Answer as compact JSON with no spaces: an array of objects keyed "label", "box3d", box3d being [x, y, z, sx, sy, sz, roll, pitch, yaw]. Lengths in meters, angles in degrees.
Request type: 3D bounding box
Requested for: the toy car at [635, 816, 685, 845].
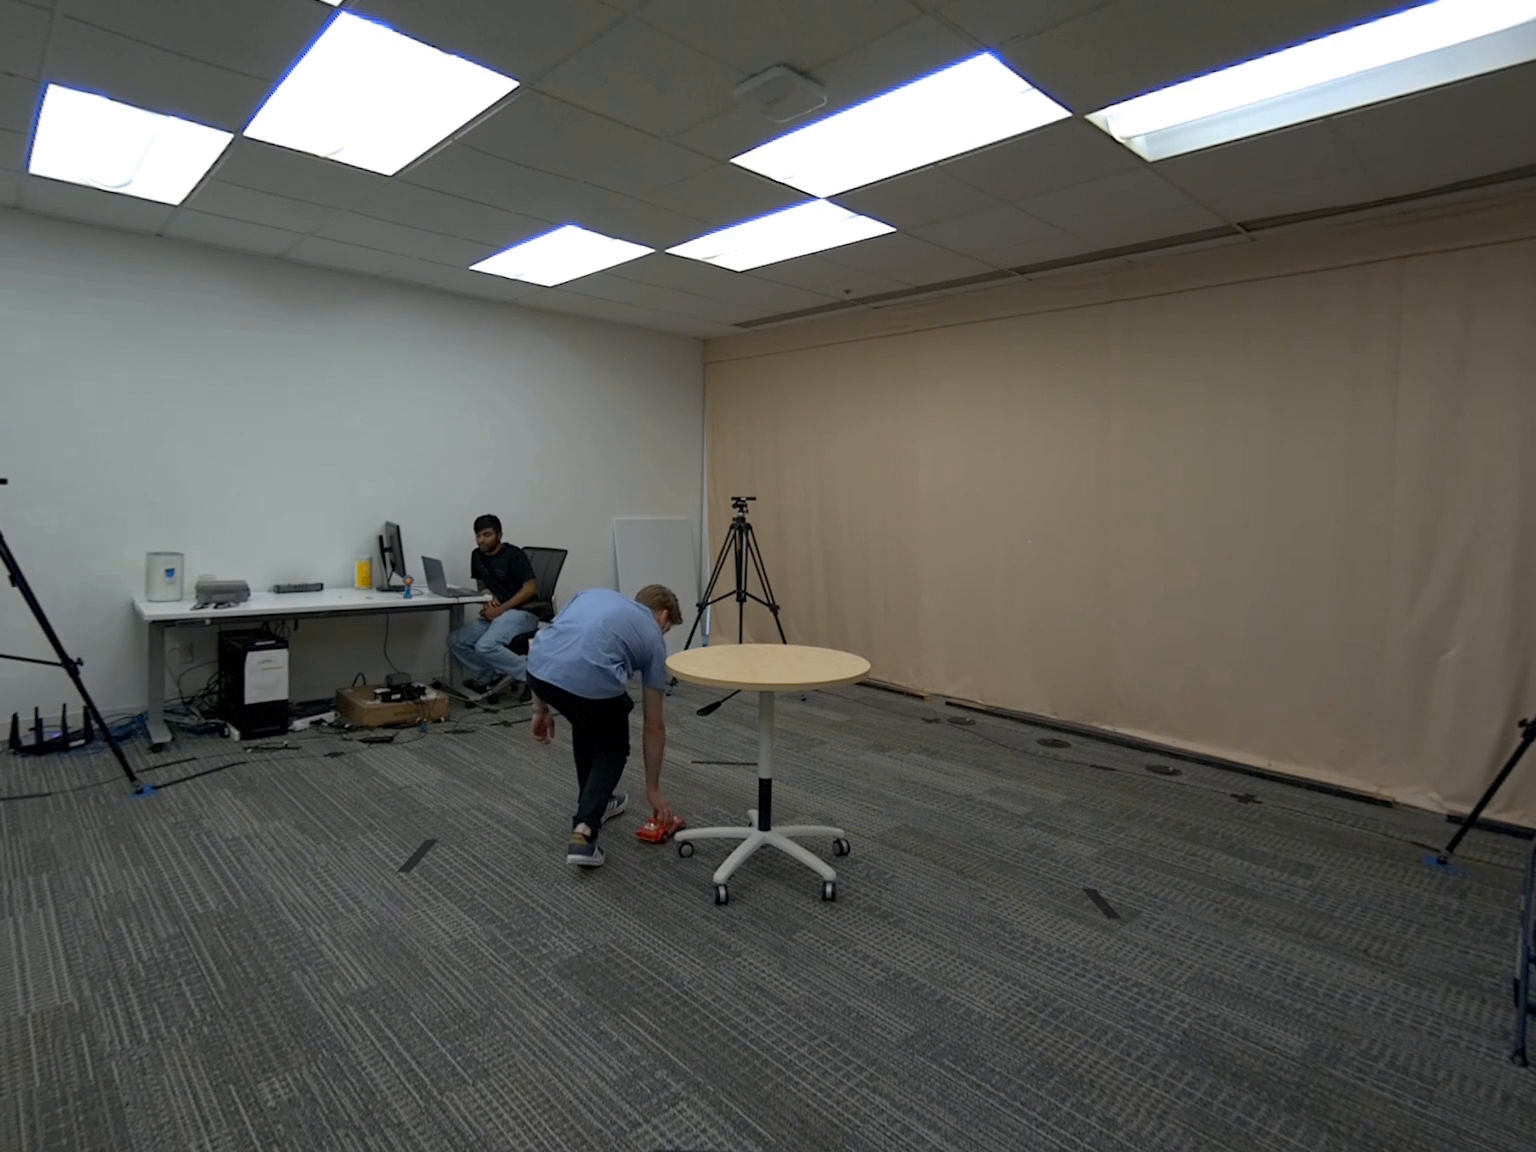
[{"label":"toy car","box3d":[-0.451,1.043,3.451,0.133,0.083,0.248,3,-7,27]}]
